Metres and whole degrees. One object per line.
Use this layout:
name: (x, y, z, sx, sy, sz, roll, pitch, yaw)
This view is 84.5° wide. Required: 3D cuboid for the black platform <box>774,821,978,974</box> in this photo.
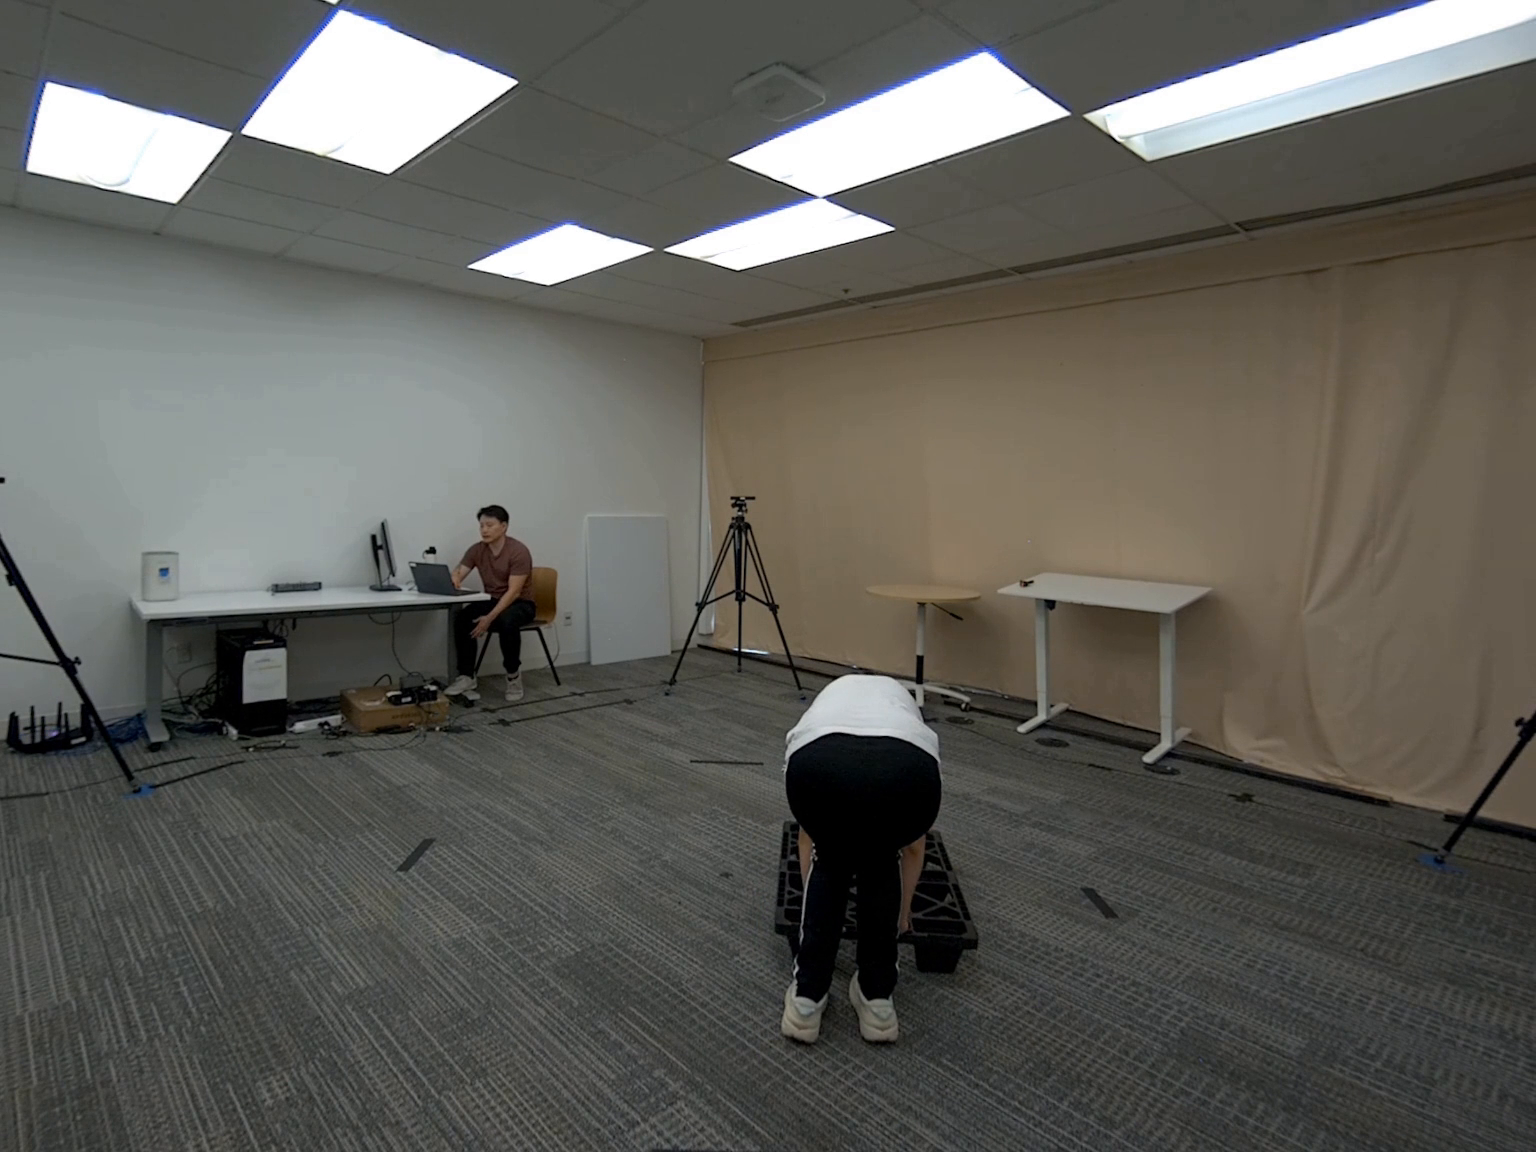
black platform: (0.333, 1.070, 2.877, 0.607, 0.143, 0.805, 3, 6, 4)
